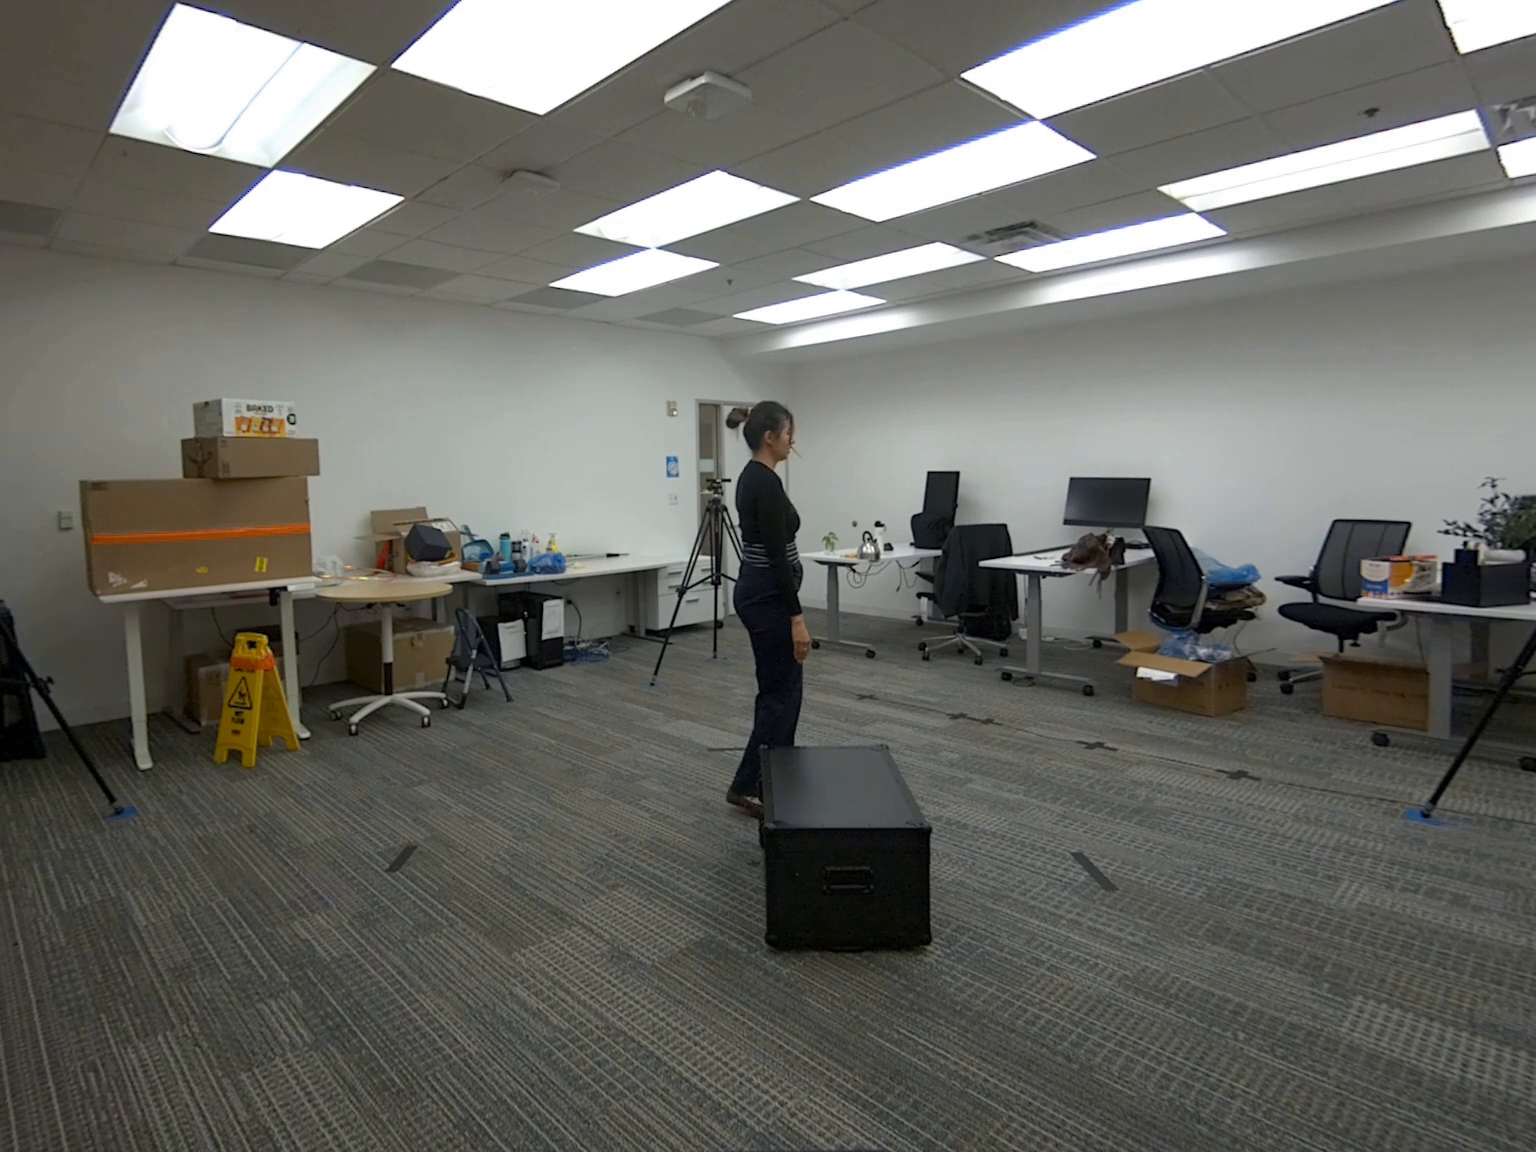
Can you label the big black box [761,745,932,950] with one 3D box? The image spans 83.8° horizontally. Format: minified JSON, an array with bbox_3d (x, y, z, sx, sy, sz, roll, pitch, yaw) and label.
[{"bbox_3d":[0.232,0.868,2.913,0.521,0.394,0.865,-1,6,-1],"label":"big black box"}]
